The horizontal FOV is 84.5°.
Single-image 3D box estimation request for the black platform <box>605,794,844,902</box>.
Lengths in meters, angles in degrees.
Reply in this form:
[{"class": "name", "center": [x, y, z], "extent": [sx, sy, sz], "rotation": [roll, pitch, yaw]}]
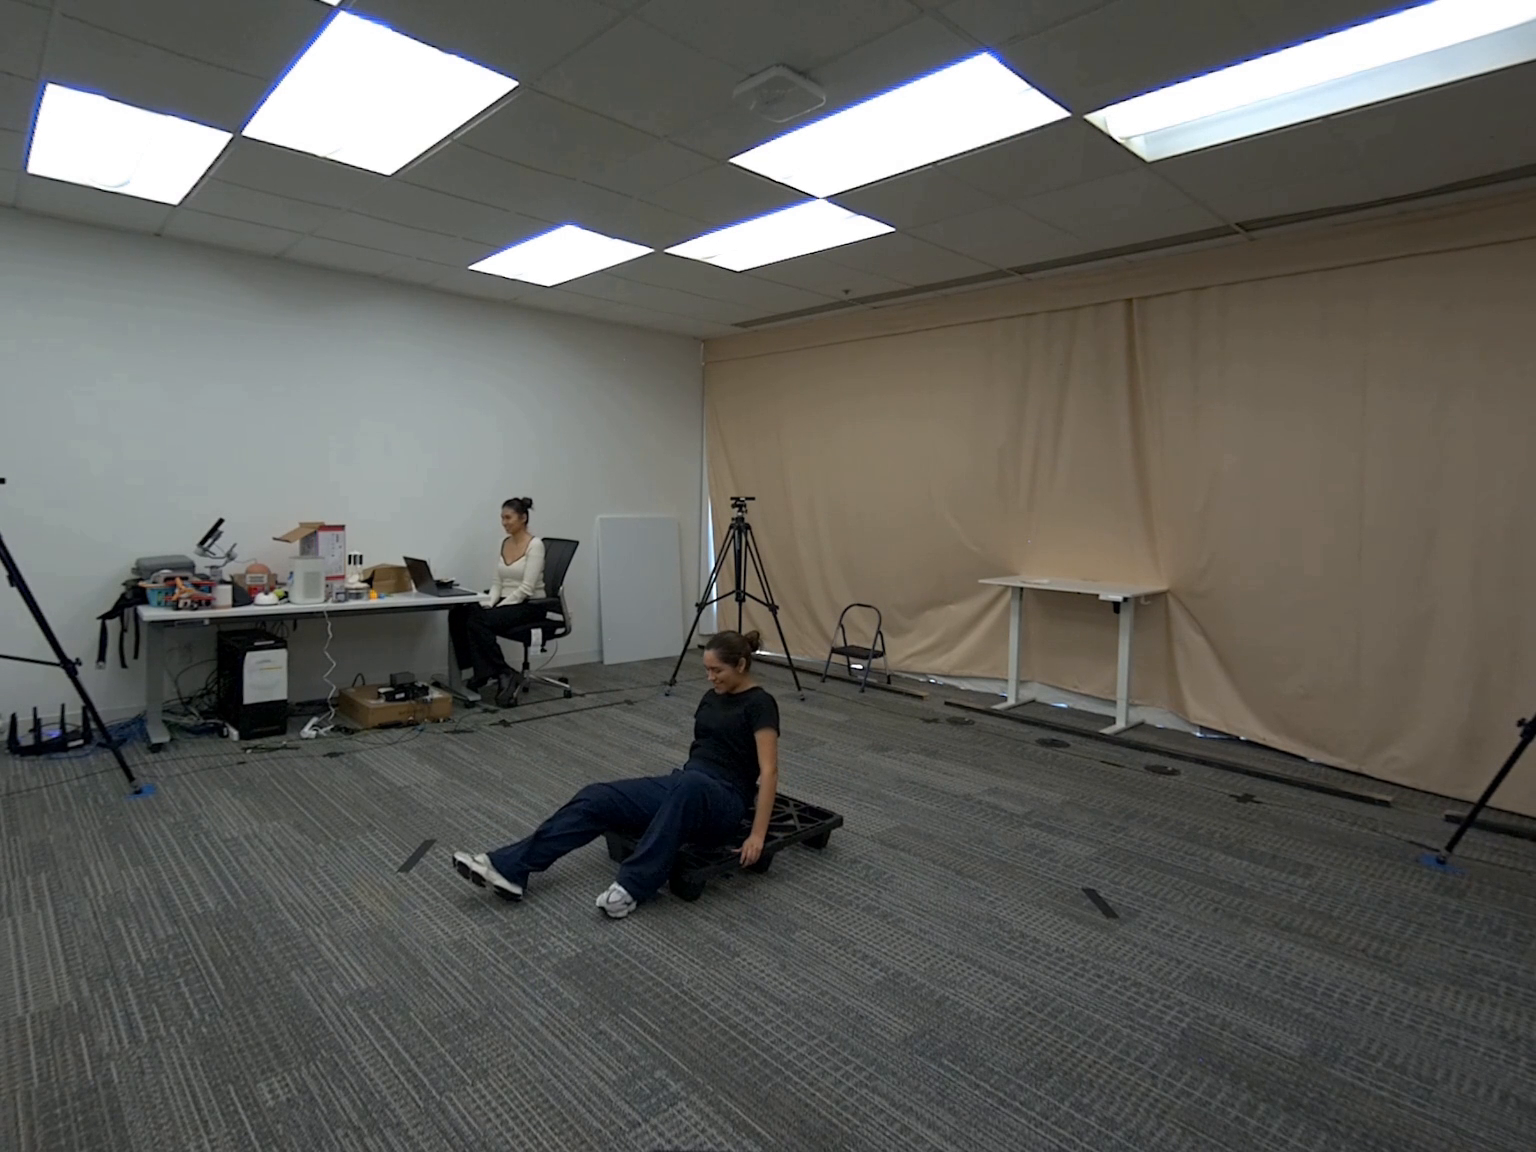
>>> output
[{"class": "black platform", "center": [-0.190, 1.024, 3.293], "extent": [0.787, 0.143, 0.620], "rotation": [-4, 6, -44]}]
